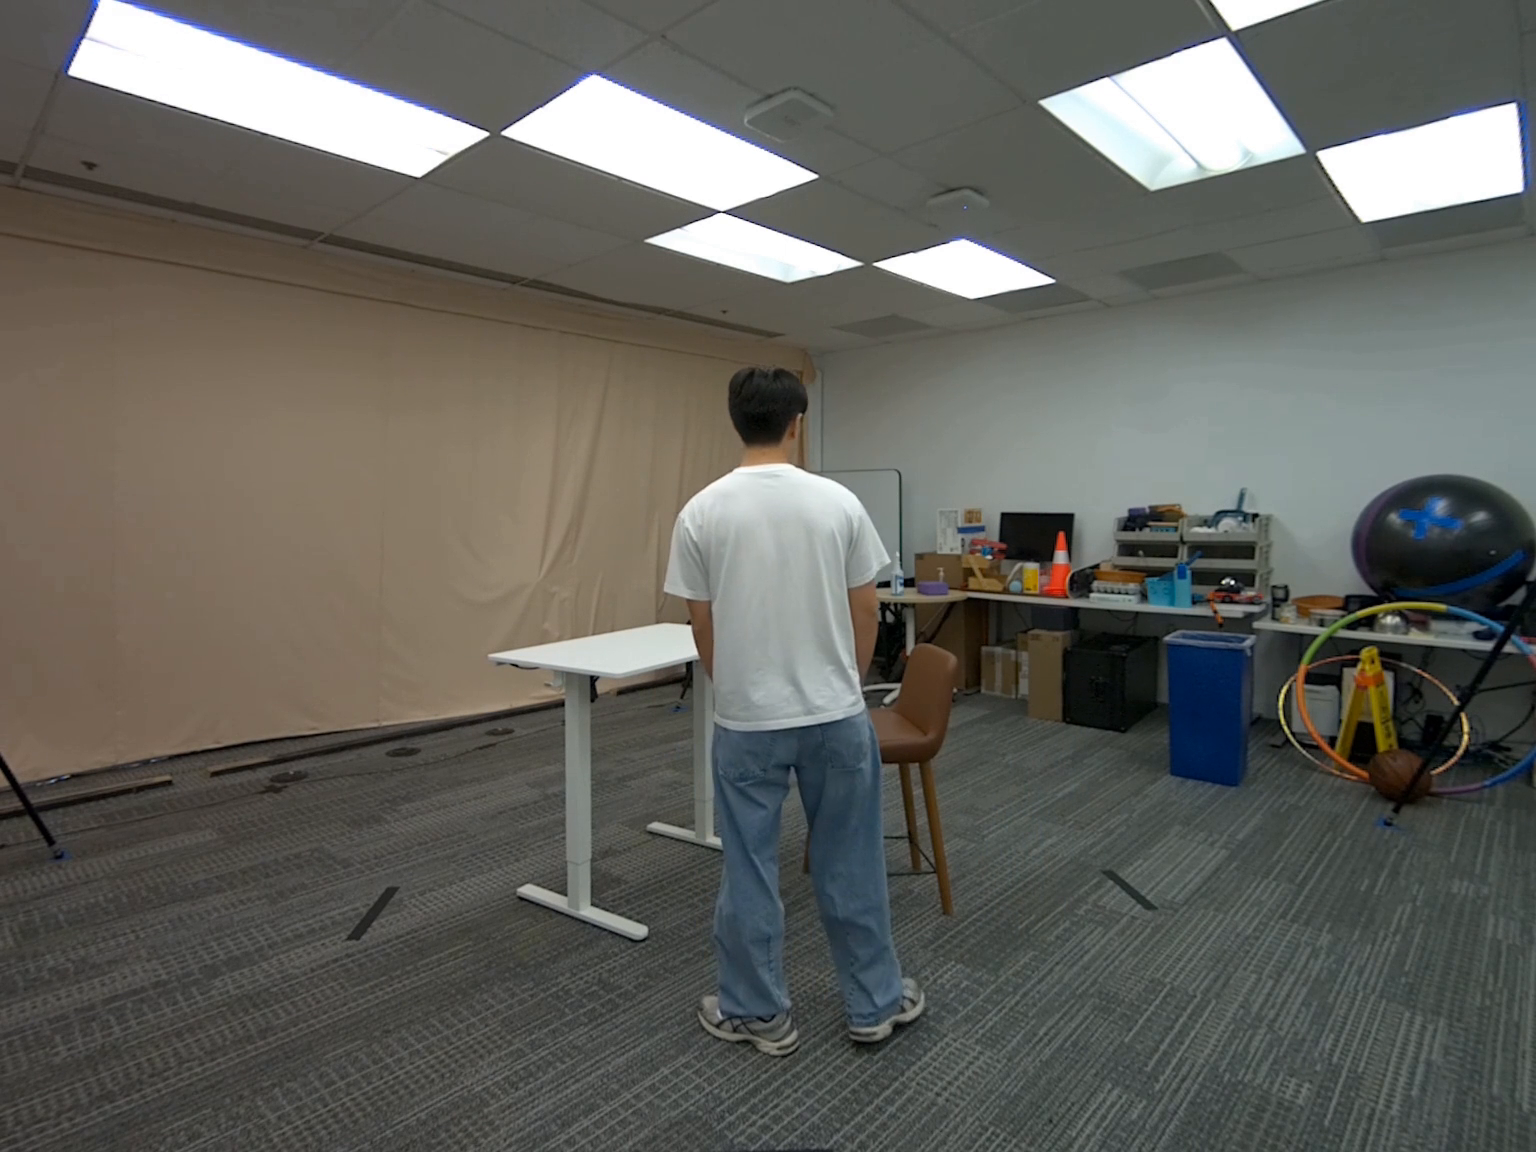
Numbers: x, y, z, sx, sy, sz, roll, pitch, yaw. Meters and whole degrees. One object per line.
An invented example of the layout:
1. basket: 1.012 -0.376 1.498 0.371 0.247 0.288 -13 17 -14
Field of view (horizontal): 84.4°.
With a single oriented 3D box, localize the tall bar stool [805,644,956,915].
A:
1. tall bar stool: 0.397 0.706 2.996 0.464 0.888 0.461 2 3 -7
